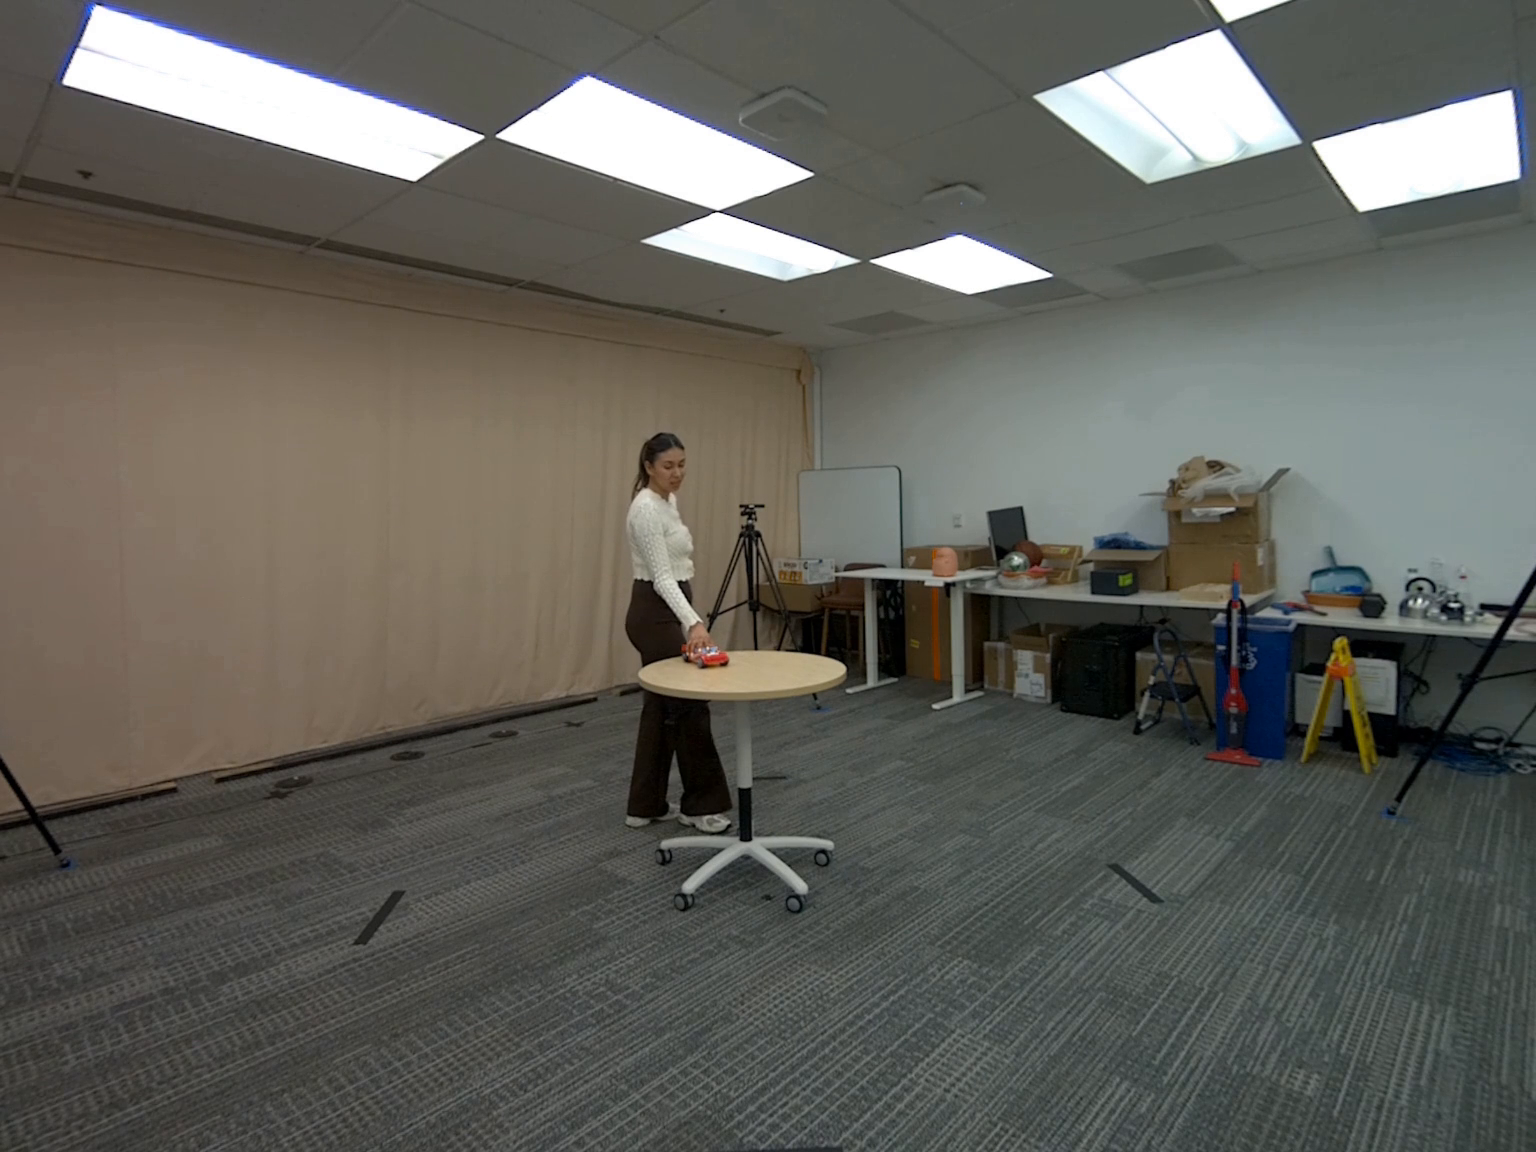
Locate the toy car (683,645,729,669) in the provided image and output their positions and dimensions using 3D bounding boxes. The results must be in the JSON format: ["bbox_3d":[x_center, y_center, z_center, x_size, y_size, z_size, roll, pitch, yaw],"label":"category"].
[{"bbox_3d":[-0.248,0.306,3.262,0.127,0.082,0.263,-4,16,-27],"label":"toy car"}]
